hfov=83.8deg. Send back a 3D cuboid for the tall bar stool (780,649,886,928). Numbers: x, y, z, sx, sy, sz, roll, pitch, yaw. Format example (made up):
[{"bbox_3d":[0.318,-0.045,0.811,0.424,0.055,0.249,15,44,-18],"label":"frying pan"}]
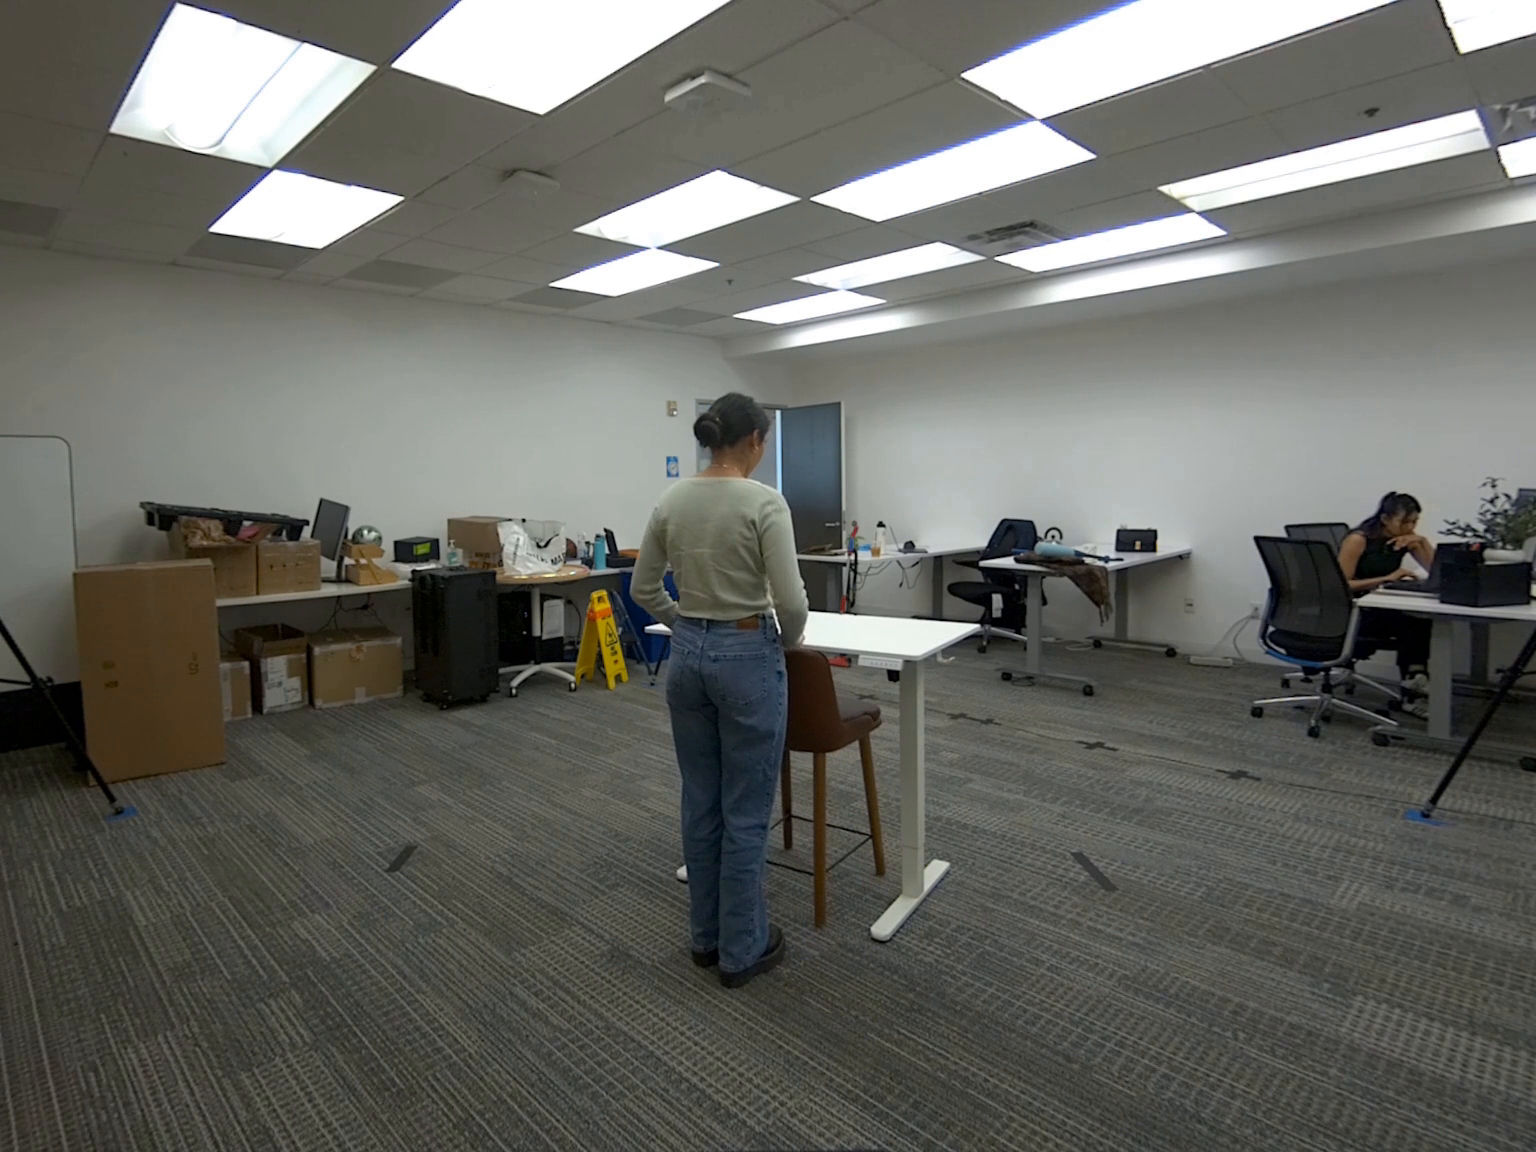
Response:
[{"bbox_3d":[0.118,0.631,2.906,0.469,0.885,0.457,2,7,33],"label":"tall bar stool"}]
